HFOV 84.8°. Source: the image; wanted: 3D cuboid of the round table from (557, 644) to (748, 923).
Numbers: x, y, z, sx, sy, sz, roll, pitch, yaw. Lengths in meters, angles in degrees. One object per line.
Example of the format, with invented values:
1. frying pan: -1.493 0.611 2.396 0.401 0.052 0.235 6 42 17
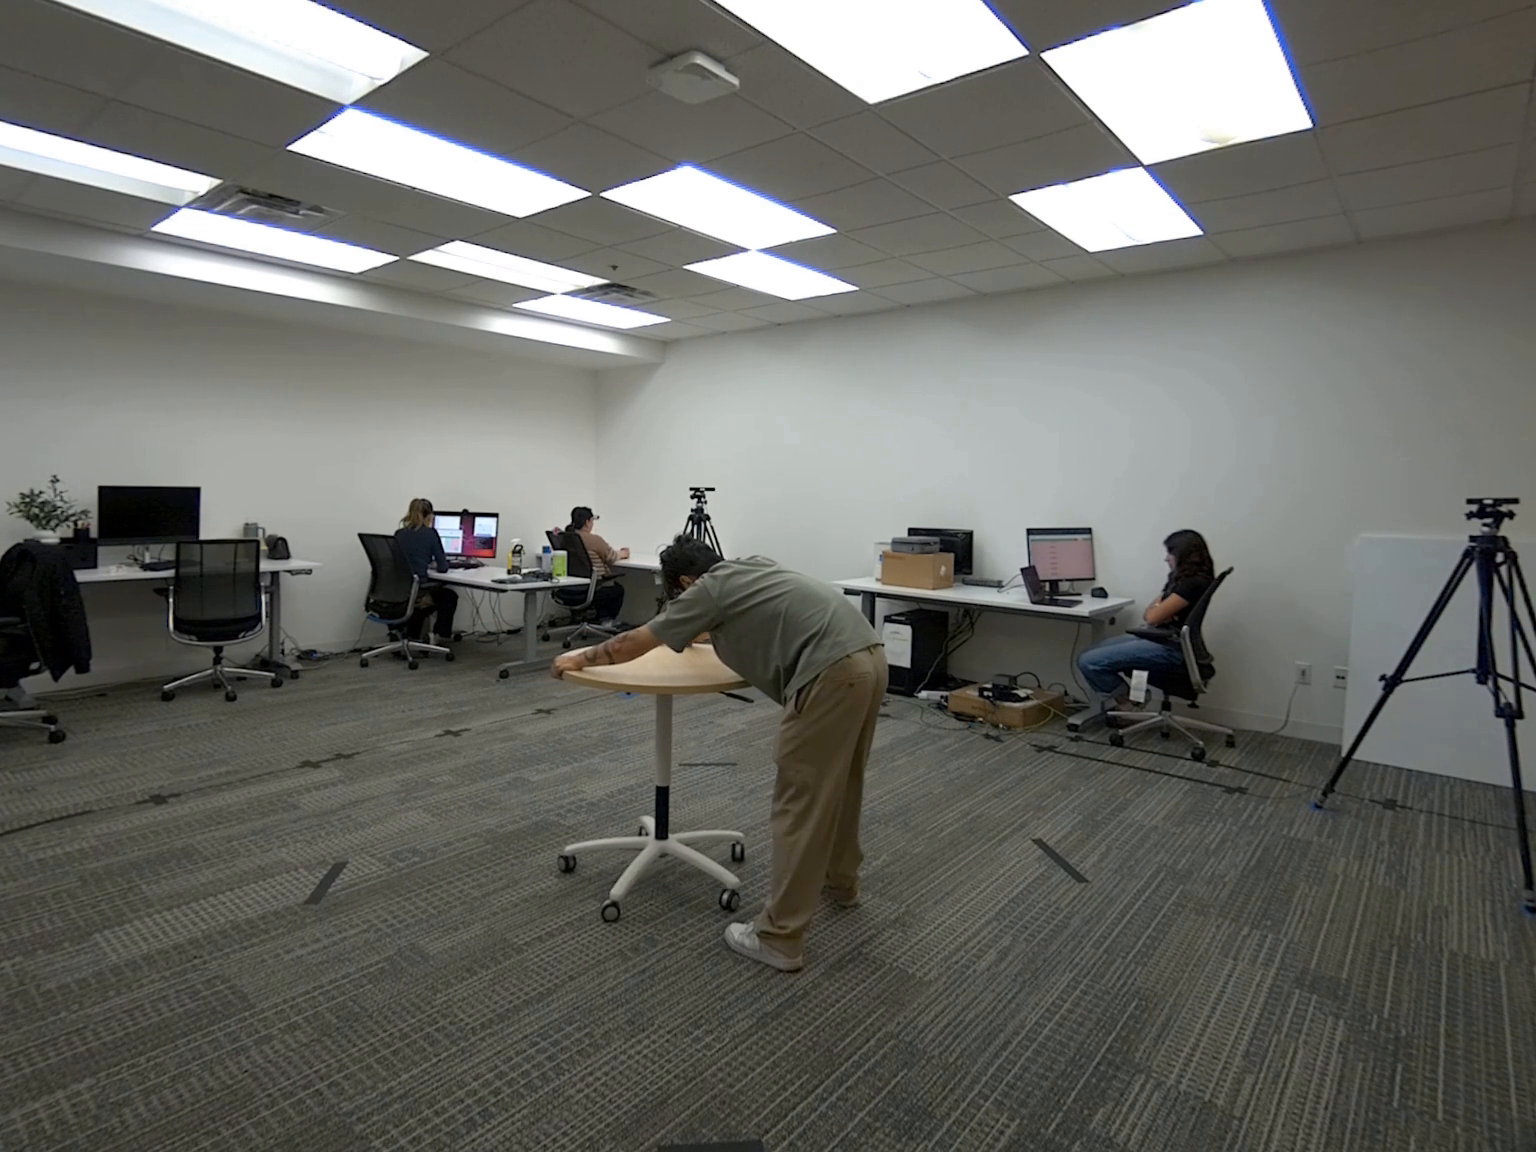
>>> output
1. round table: -0.402 0.683 3.009 0.784 0.784 0.789 1 4 -2
